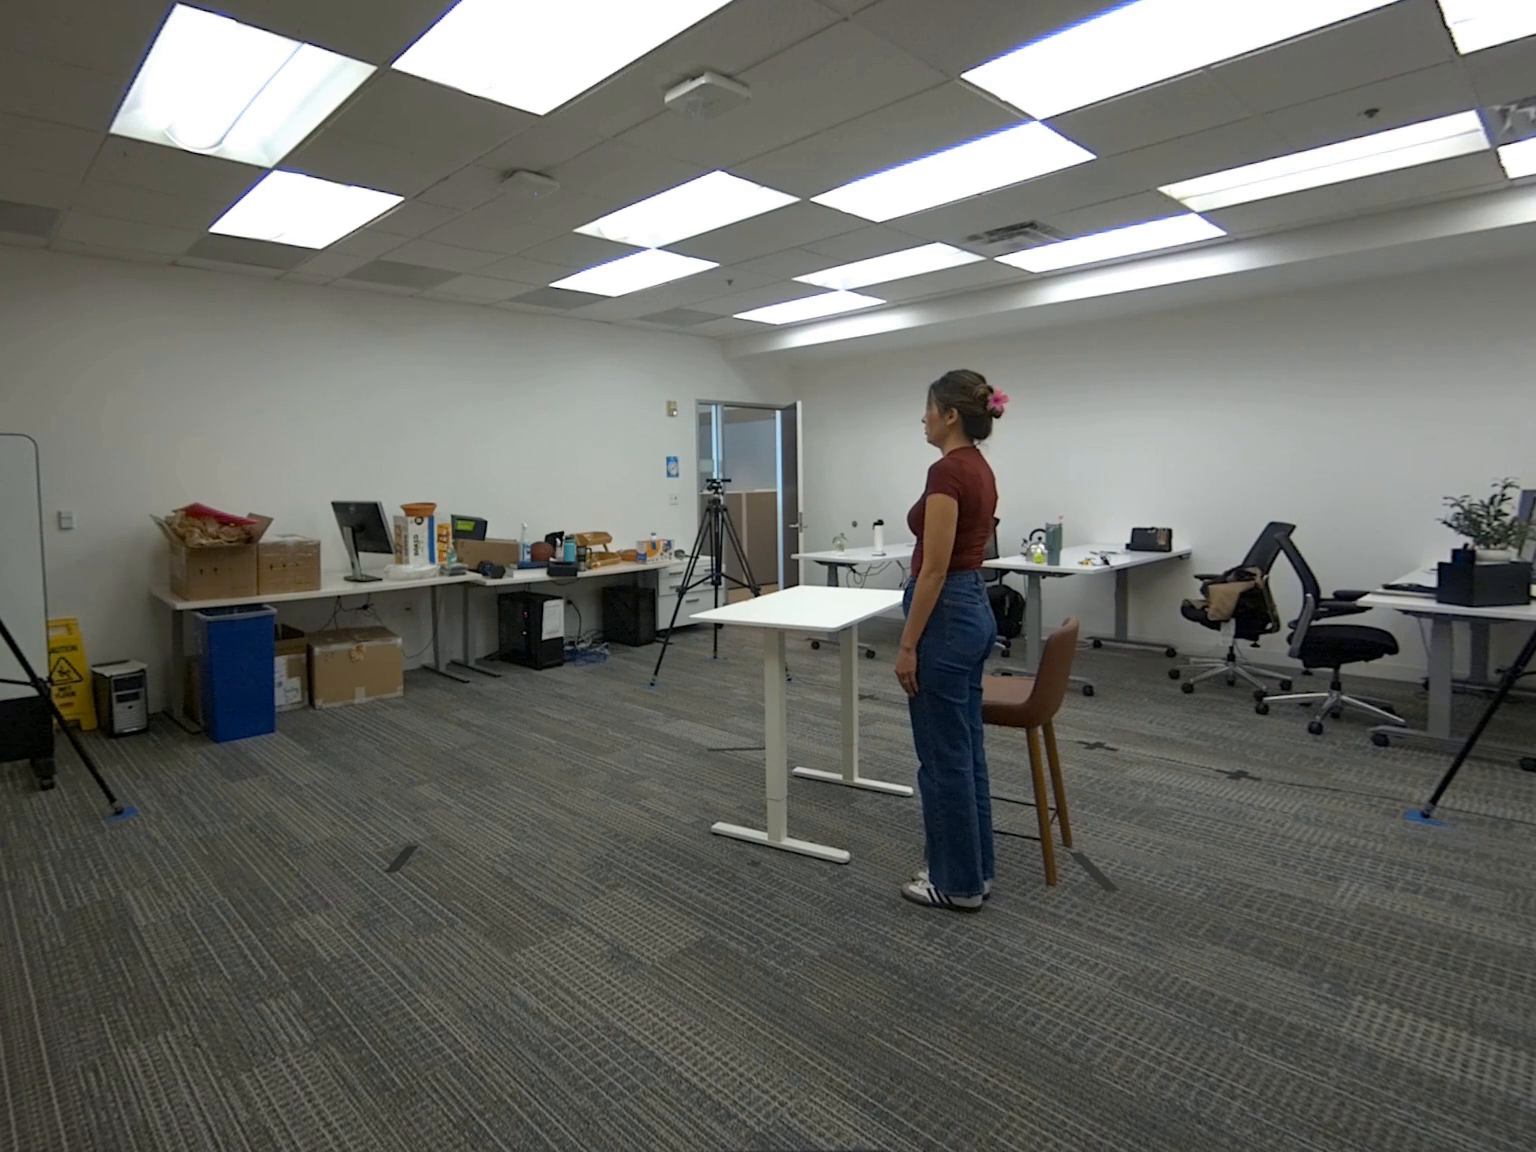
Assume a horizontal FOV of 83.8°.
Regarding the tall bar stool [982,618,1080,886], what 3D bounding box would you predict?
[{"bbox_3d":[0.862,0.589,3.147,0.480,0.886,0.446,3,5,29],"label":"tall bar stool"}]
